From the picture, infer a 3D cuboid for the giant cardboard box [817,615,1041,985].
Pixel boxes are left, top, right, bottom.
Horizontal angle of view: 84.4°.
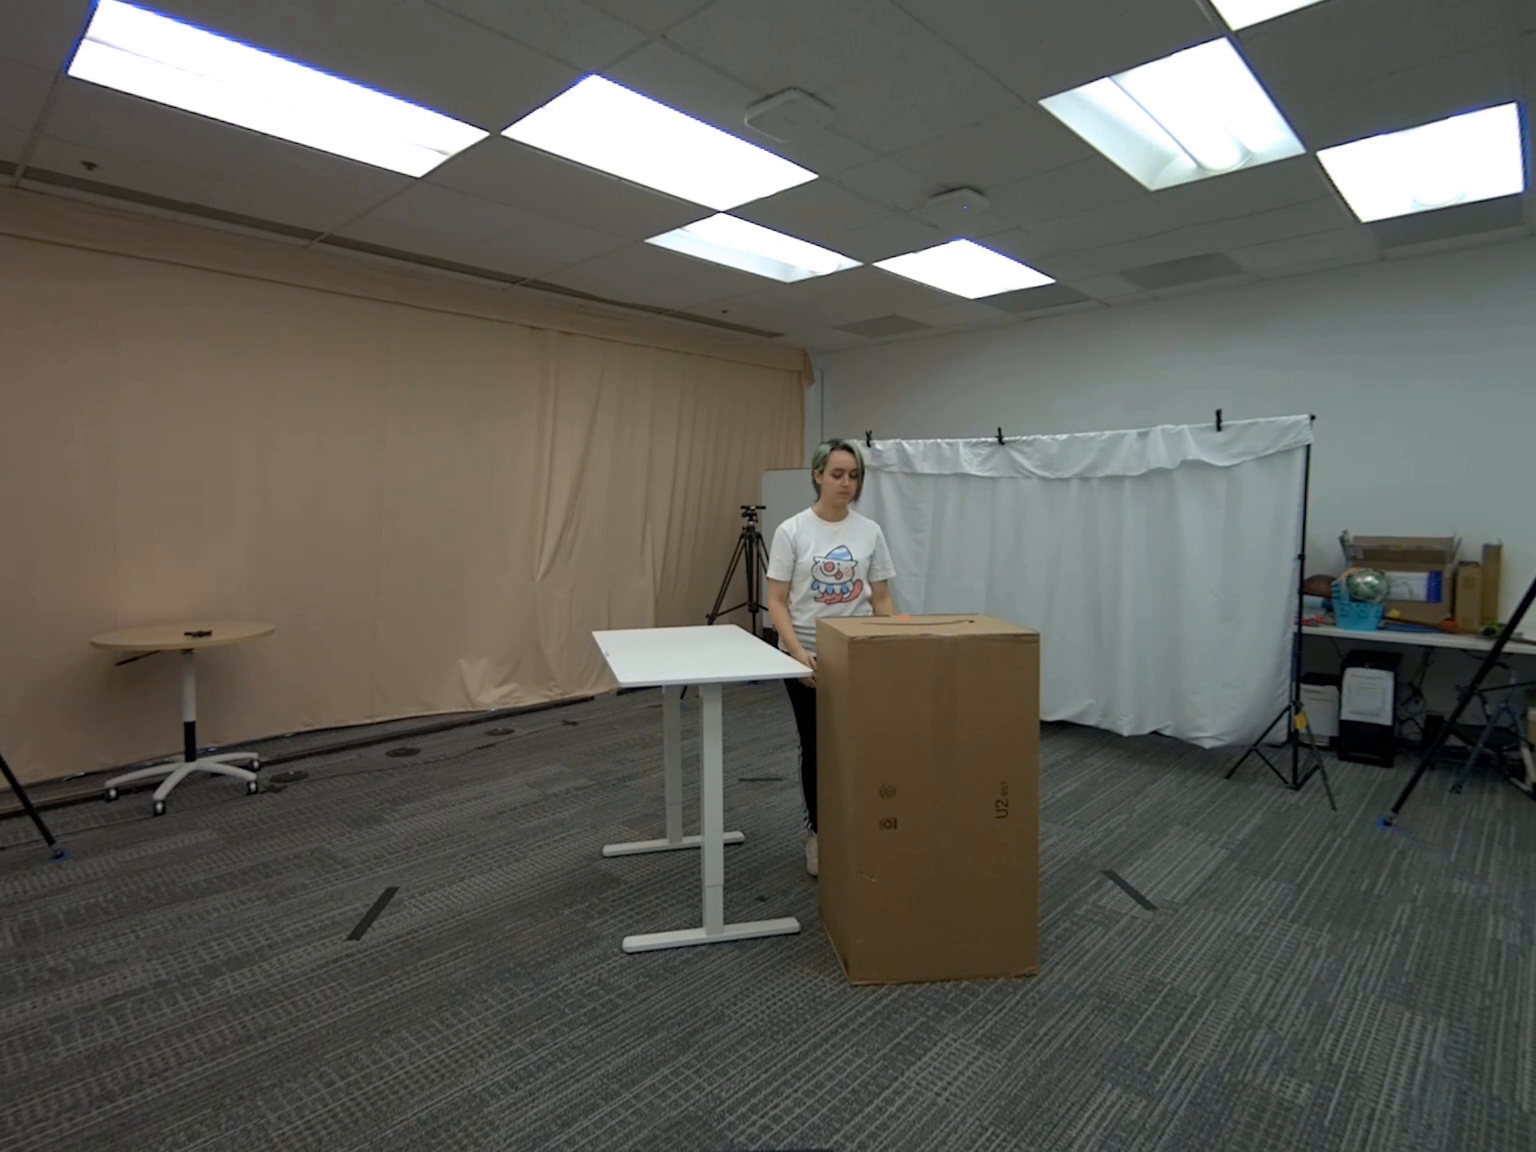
[{"bbox_3d":[0.488,0.662,2.647,0.579,1.024,0.451,-1,4,-8],"label":"giant cardboard box"}]
